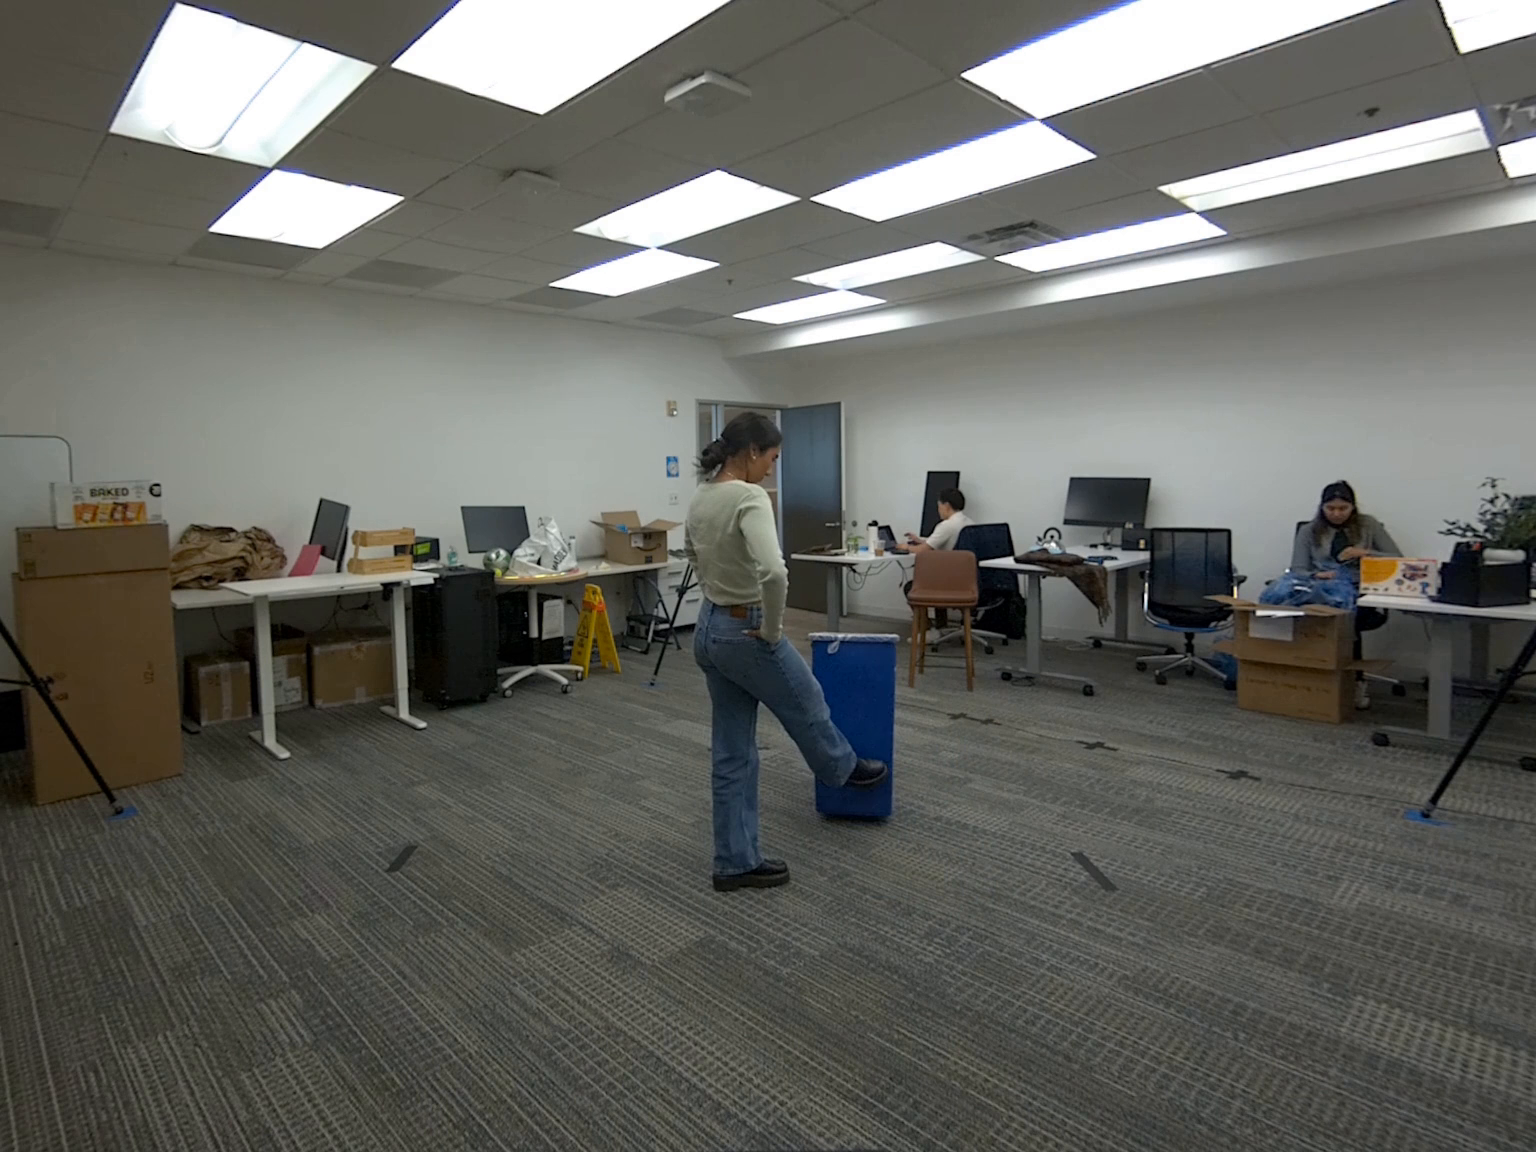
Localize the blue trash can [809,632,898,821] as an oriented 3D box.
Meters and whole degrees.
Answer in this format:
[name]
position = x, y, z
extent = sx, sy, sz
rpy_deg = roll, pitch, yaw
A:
[blue trash can]
position = 0.370, 0.611, 3.608
extent = 0.377, 0.717, 0.374
rpy_deg = -1, -5, 6
